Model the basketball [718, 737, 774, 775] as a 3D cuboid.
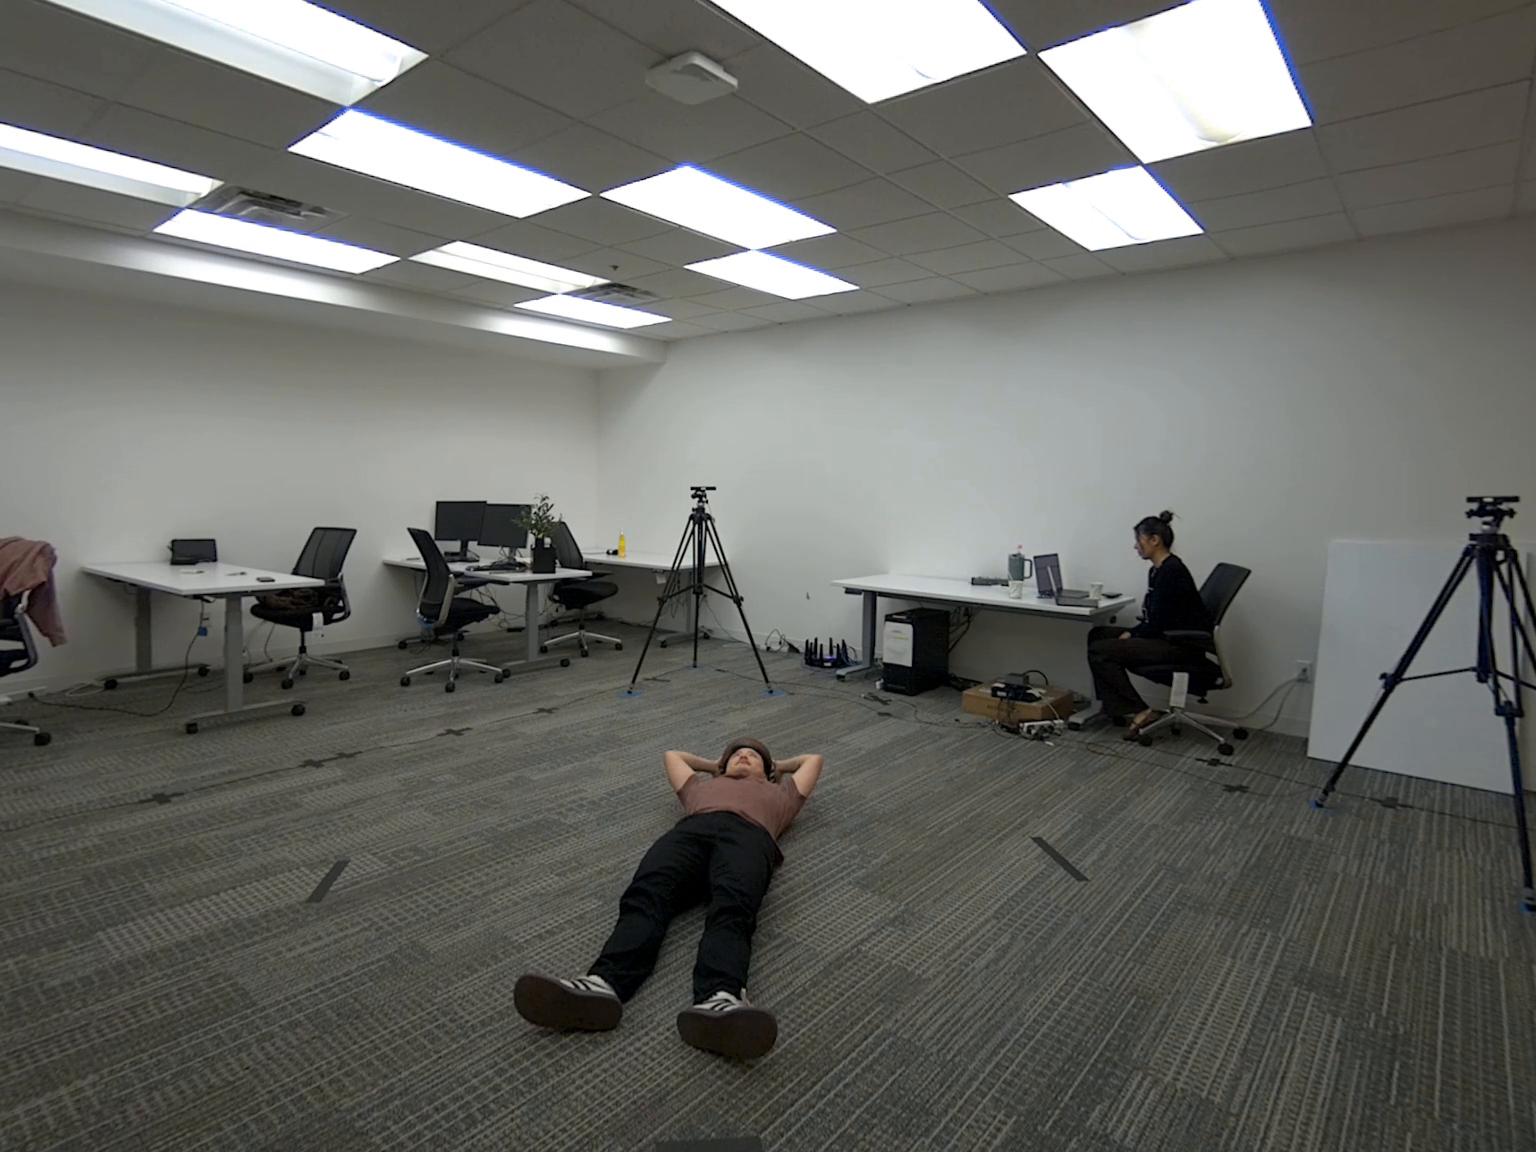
[{"bbox_3d":[-0.113,0.864,3.943,0.236,0.235,0.237,-3,3,-2],"label":"basketball"}]
